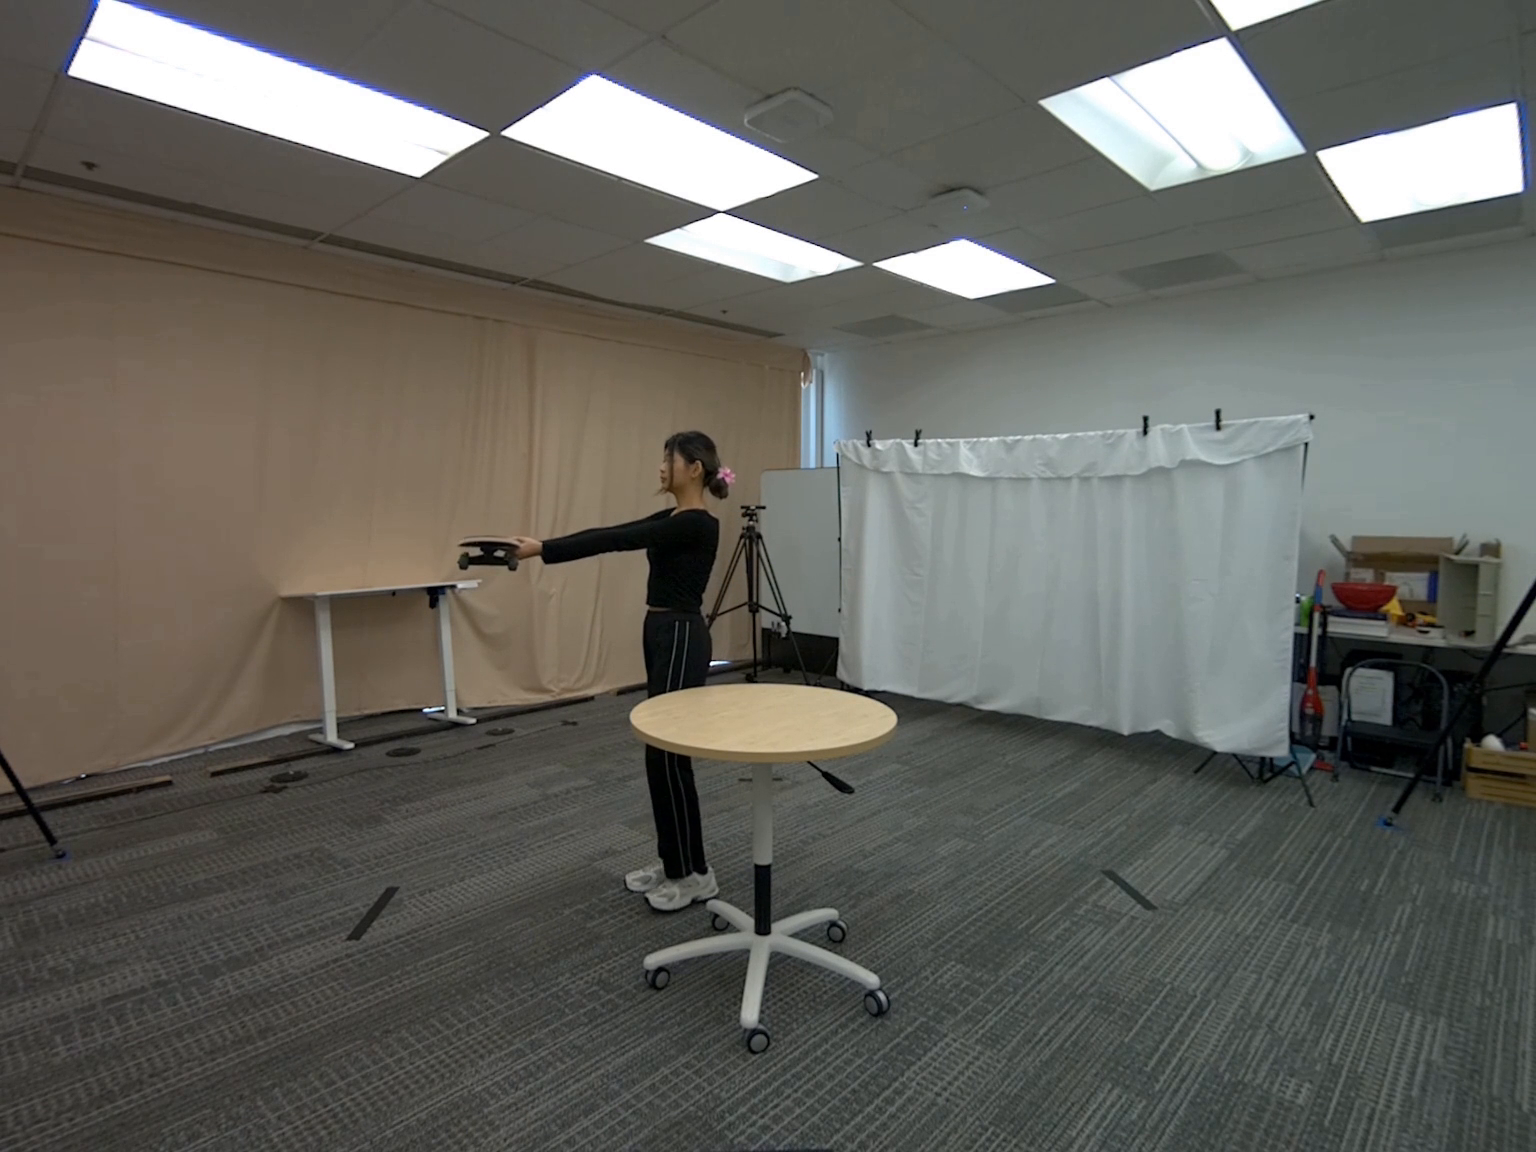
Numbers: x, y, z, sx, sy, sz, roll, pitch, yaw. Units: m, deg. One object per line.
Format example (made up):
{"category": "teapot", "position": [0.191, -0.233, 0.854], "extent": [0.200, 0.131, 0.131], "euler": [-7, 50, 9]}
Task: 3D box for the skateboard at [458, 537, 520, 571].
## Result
{"category": "skateboard", "position": [-0.976, -0.074, 2.941], "extent": [0.190, 0.110, 0.801], "euler": [4, 1, -20]}
